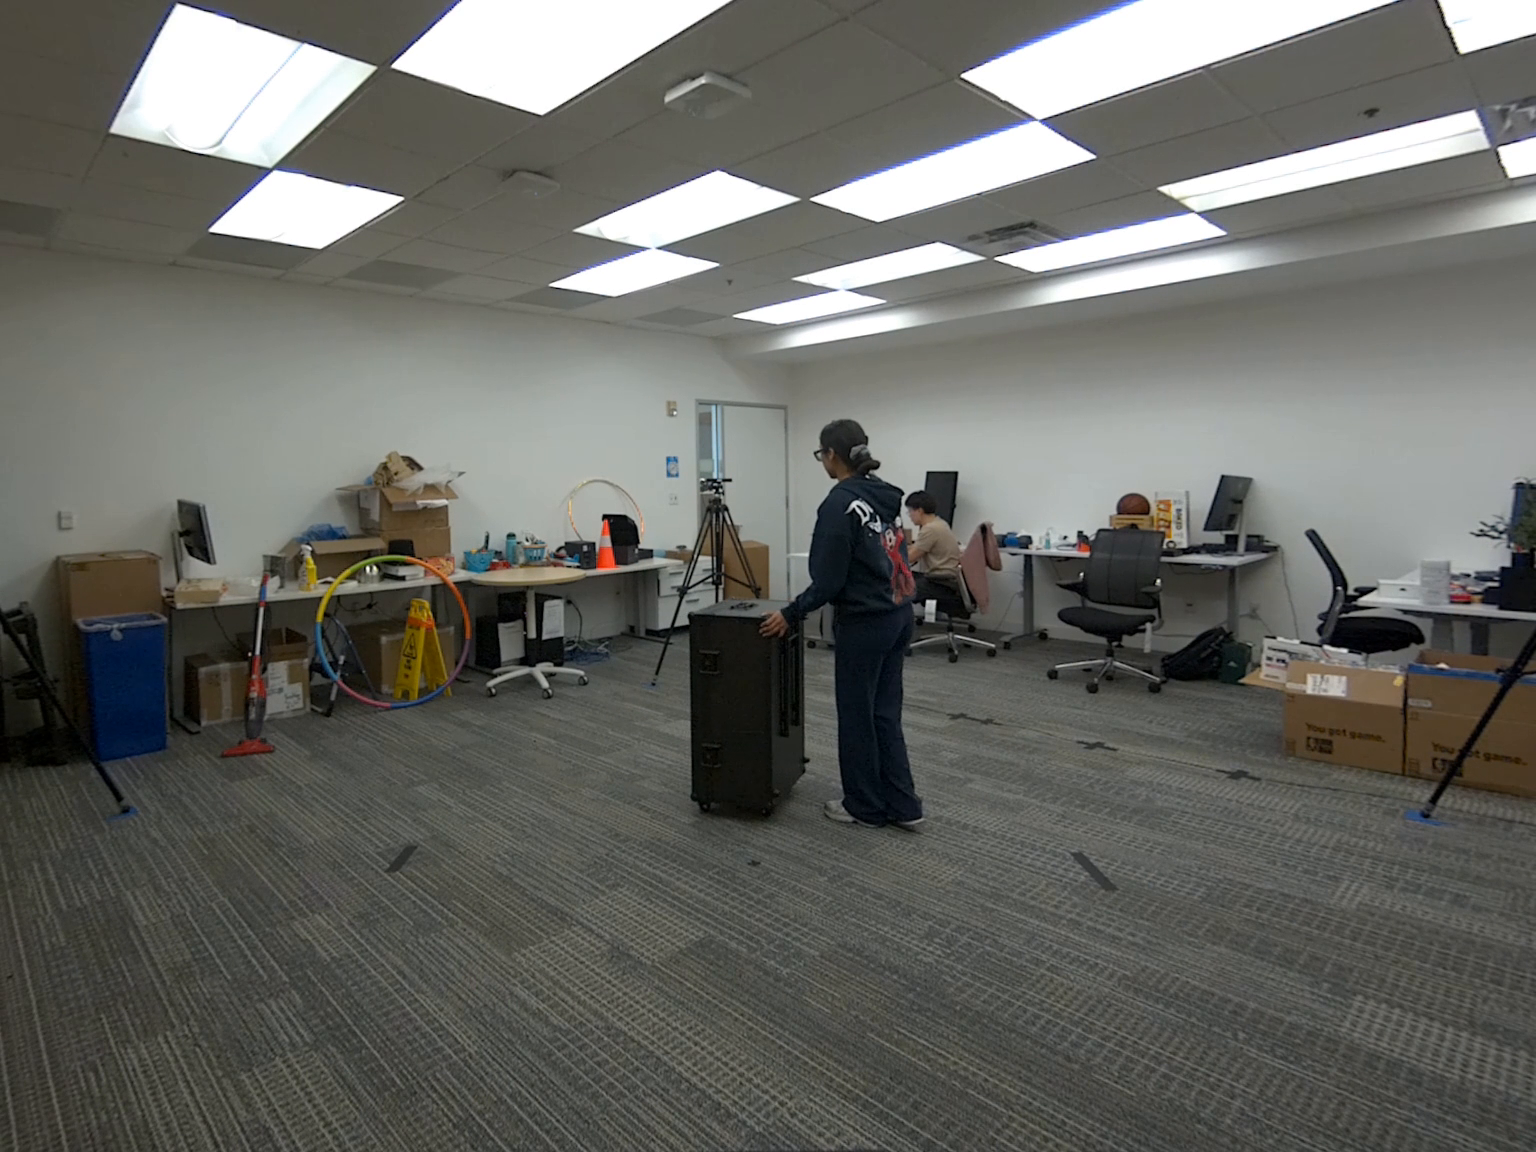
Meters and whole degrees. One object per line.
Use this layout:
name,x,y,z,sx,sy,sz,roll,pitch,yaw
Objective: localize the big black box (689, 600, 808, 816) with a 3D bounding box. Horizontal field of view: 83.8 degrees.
big black box,-0.064,0.553,3.676,0.404,0.858,0.513,2,5,20
